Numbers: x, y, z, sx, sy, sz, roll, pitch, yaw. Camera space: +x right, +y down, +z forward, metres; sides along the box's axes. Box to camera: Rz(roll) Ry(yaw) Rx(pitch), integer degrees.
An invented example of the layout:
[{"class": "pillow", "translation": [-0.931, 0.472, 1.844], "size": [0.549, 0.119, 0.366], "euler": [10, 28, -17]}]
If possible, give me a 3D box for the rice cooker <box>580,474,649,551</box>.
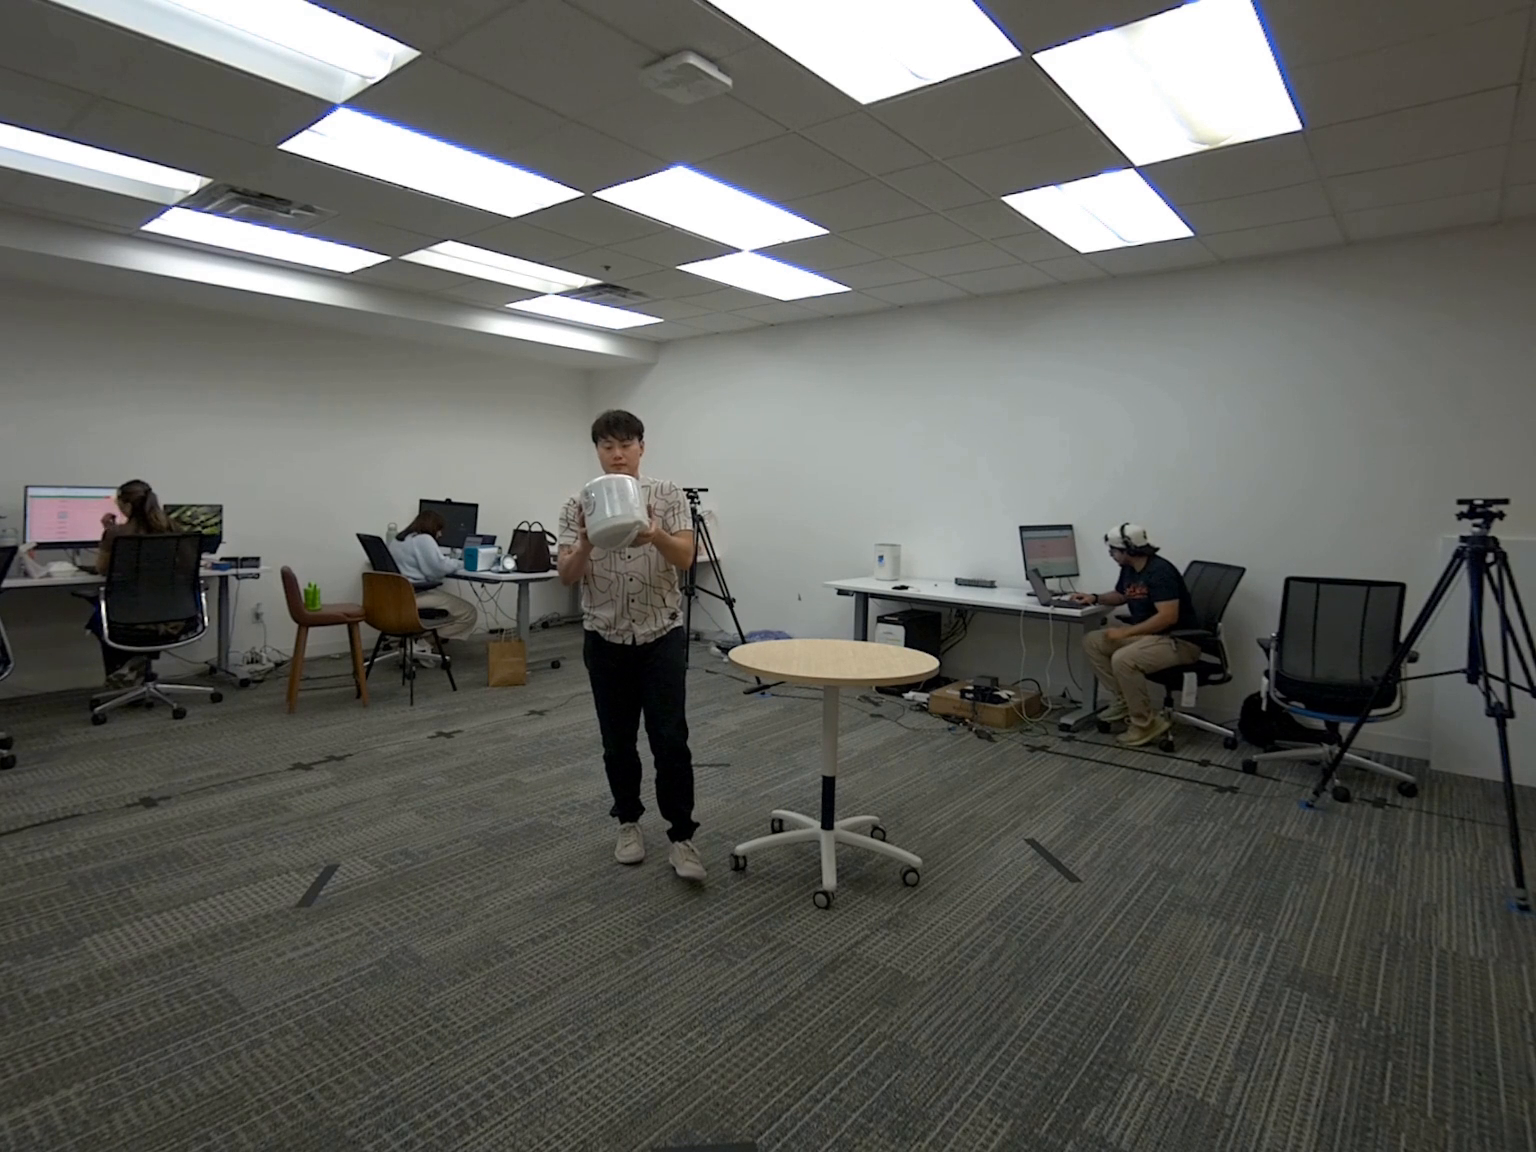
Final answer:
[{"class": "rice cooker", "translation": [-0.526, -0.206, 2.832], "size": [0.223, 0.238, 0.210], "euler": [-28, -22, 35]}]
